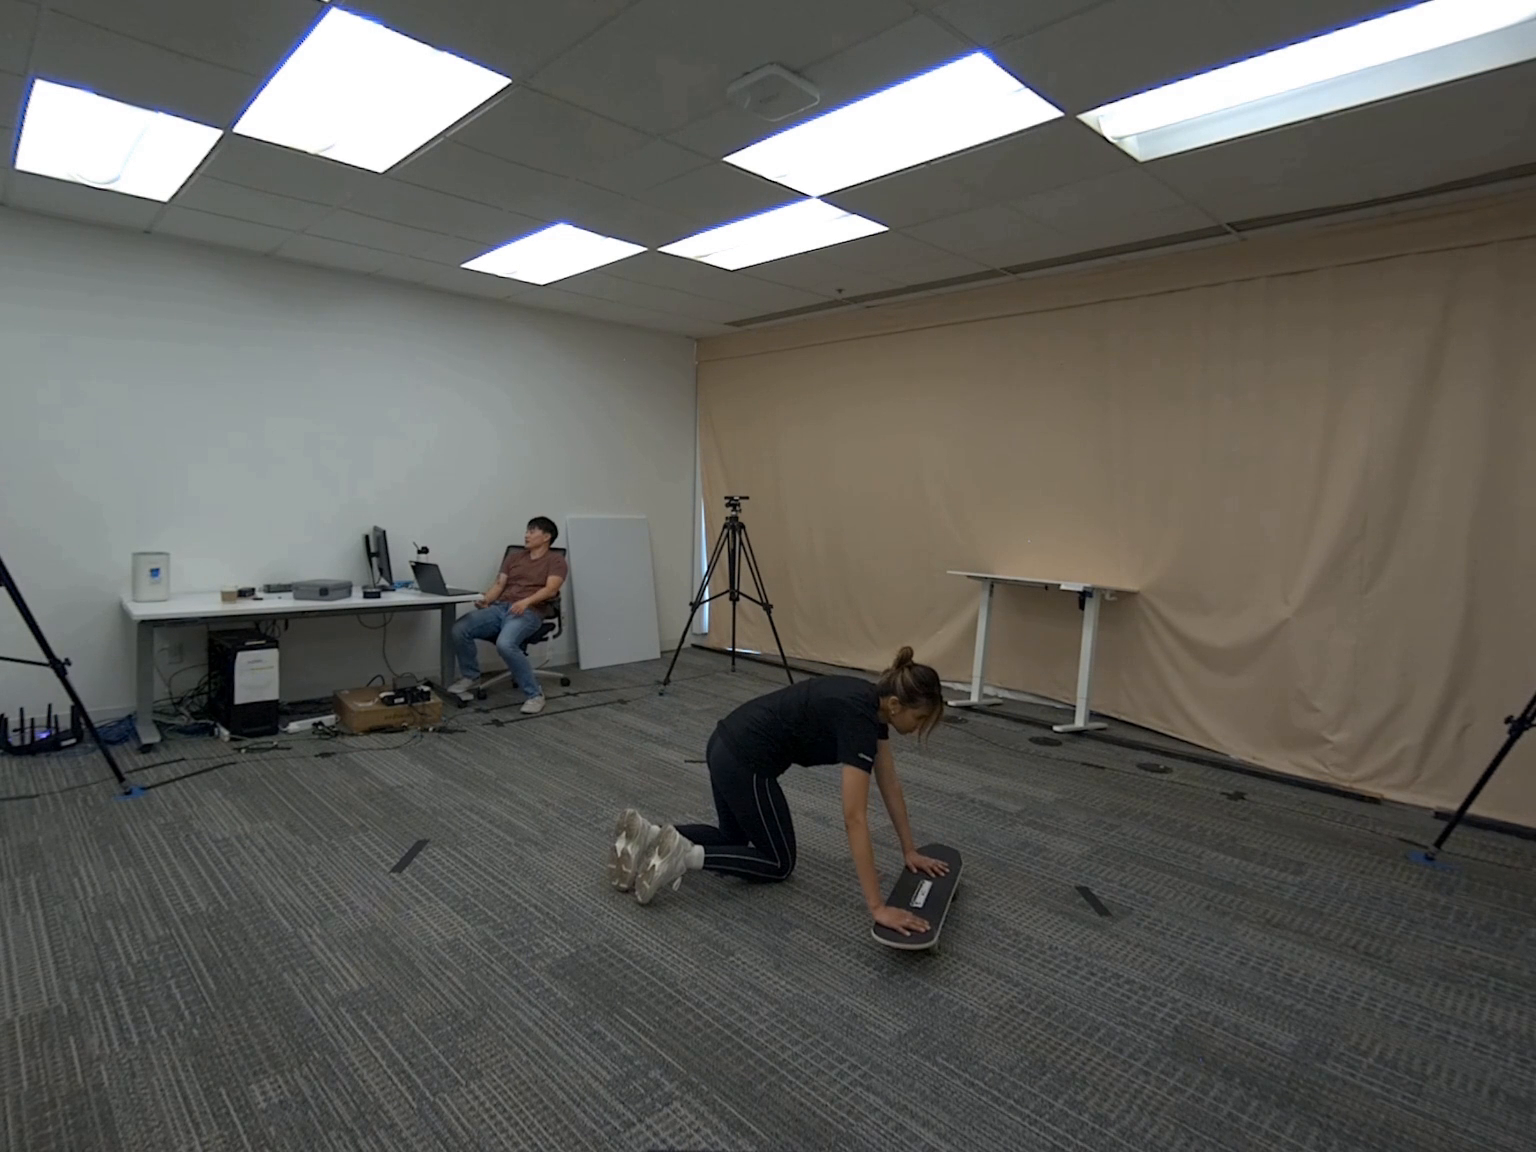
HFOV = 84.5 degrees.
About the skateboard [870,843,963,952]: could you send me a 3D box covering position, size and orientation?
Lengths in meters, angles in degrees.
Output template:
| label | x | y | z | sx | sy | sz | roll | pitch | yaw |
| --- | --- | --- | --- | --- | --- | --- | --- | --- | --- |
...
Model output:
| label | x | y | z | sx | sy | sz | roll | pitch | yaw |
| --- | --- | --- | --- | --- | --- | --- | --- | --- | --- |
| skateboard | 0.502 | 1.089 | 2.809 | 0.197 | 0.110 | 0.774 | 1 | 5 | 21 |
